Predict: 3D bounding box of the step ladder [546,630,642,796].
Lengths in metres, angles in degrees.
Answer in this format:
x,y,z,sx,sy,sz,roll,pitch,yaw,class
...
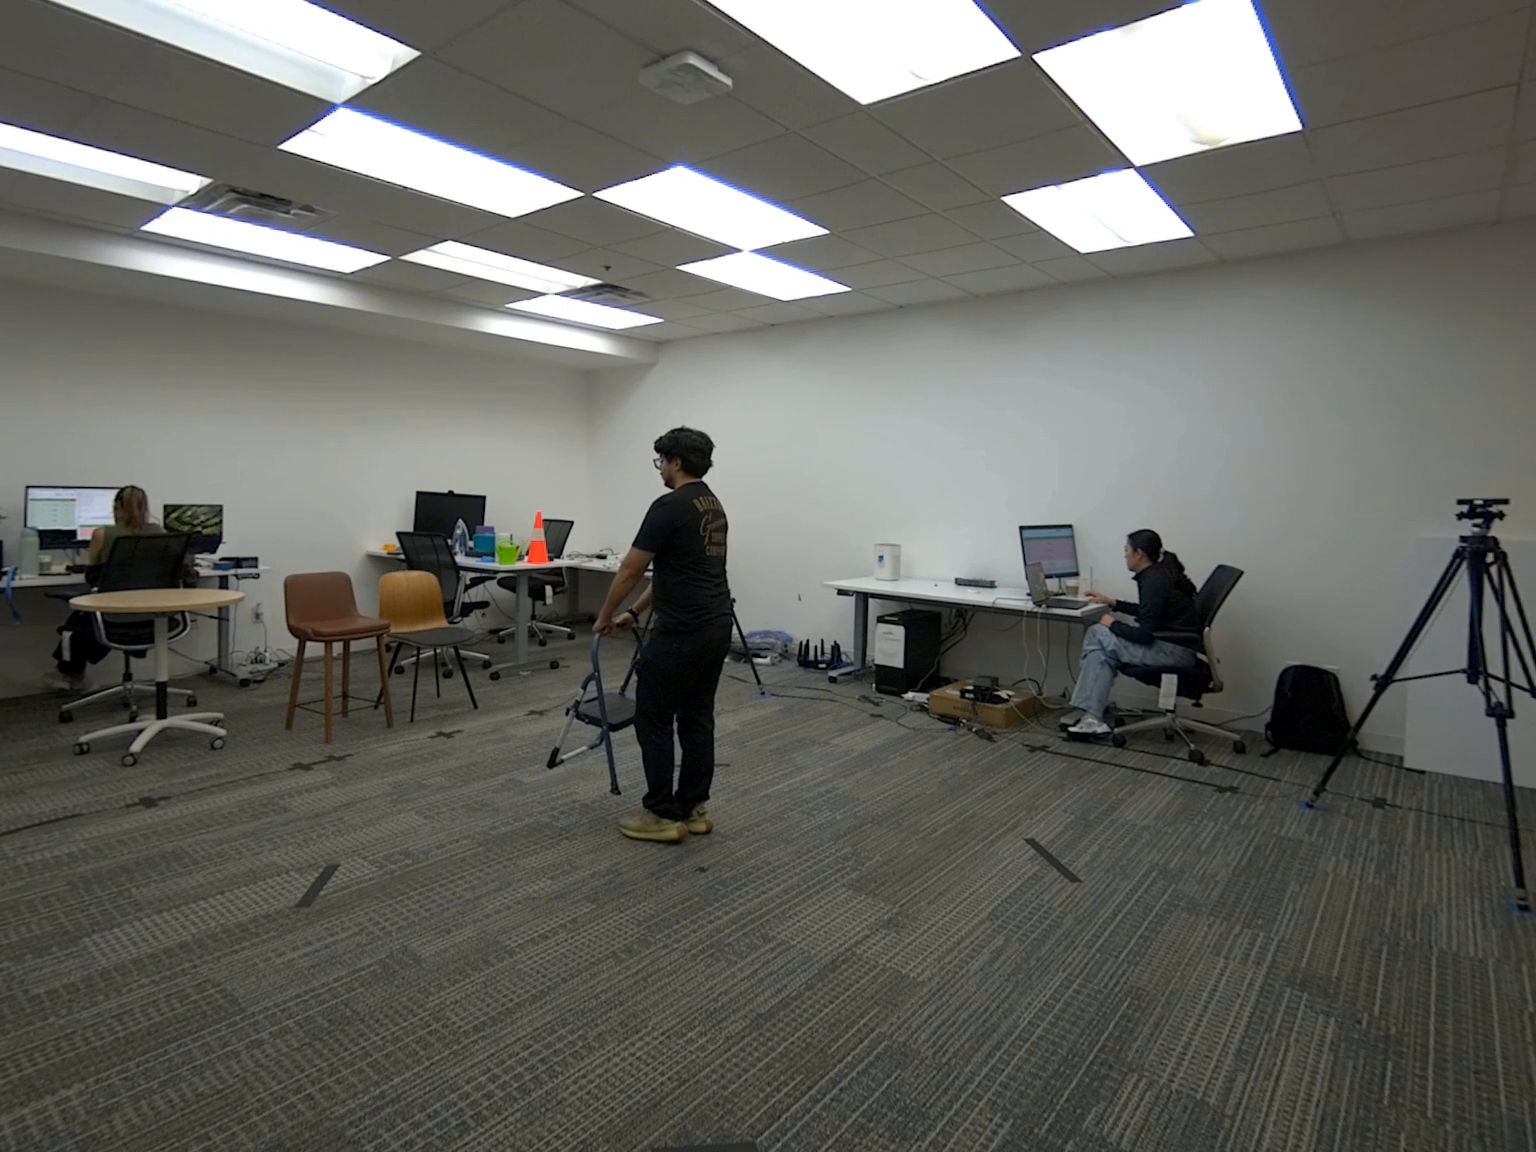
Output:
x,y,z,sx,sy,sz,roll,pitch,yaw,class
-0.641,0.512,3.569,0.358,0.603,0.422,13,6,19,step ladder
